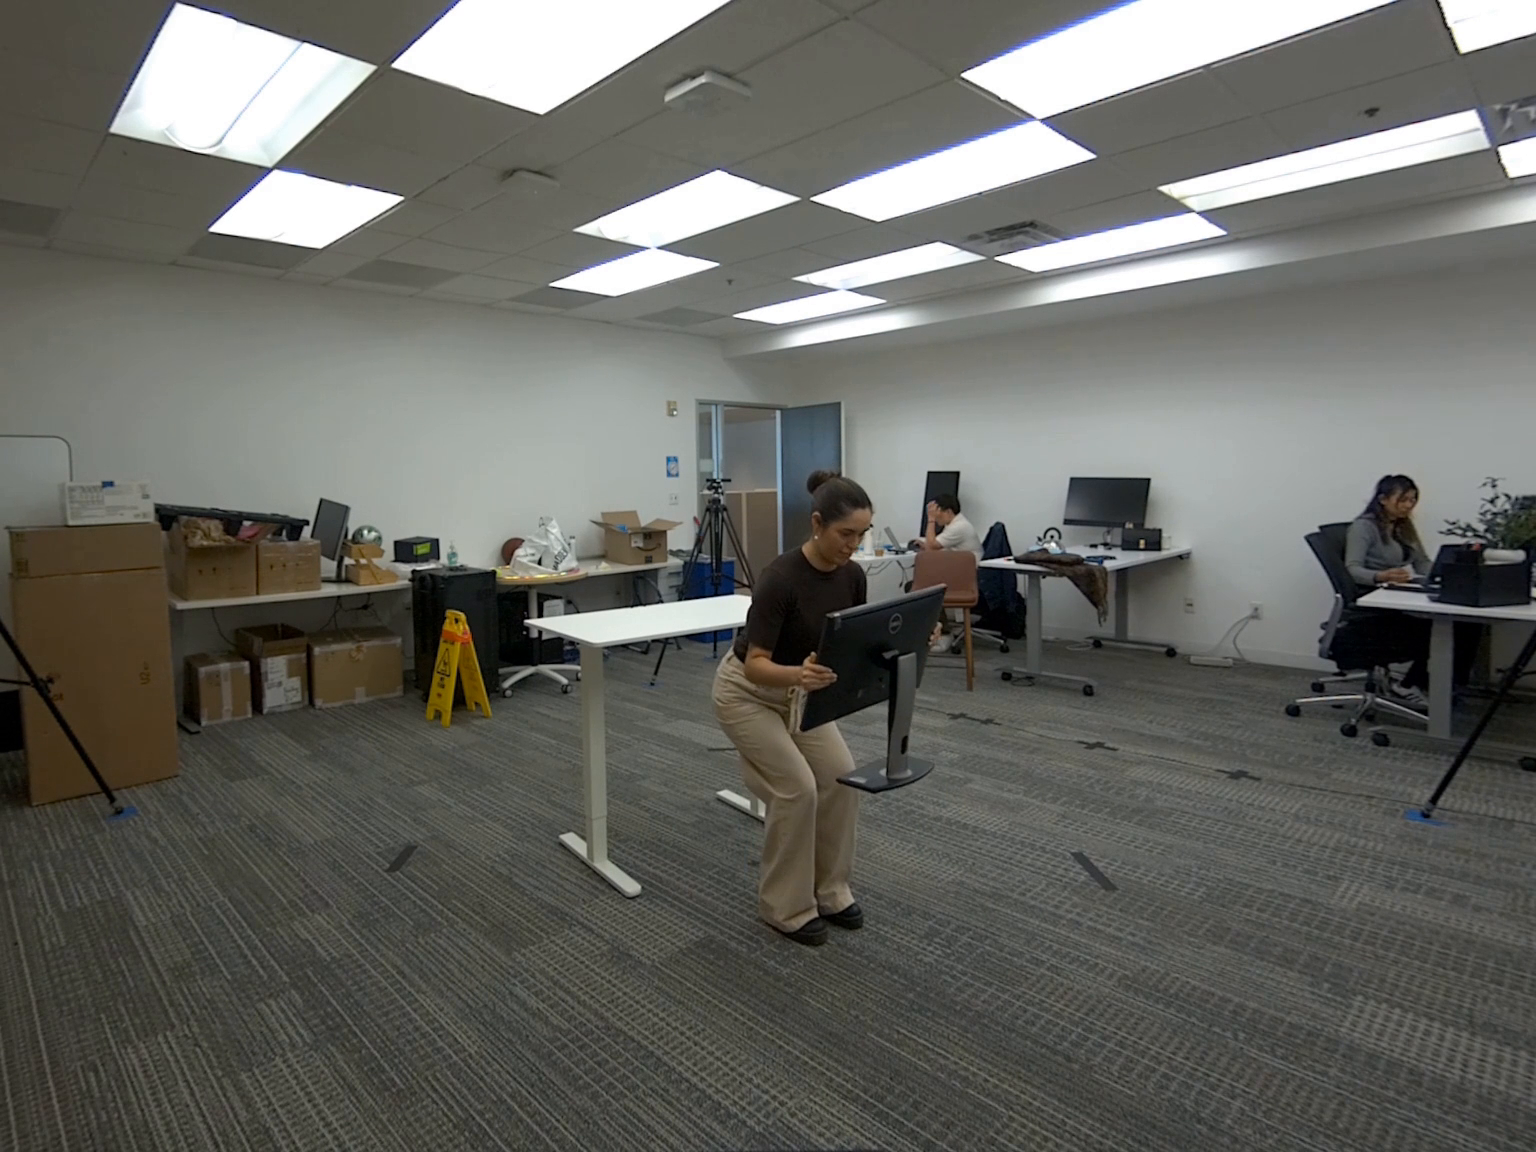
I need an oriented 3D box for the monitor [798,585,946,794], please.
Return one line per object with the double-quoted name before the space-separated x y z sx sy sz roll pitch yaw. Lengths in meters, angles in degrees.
"monitor" 0.339 0.323 2.414 0.193 0.519 0.526 6 11 43
